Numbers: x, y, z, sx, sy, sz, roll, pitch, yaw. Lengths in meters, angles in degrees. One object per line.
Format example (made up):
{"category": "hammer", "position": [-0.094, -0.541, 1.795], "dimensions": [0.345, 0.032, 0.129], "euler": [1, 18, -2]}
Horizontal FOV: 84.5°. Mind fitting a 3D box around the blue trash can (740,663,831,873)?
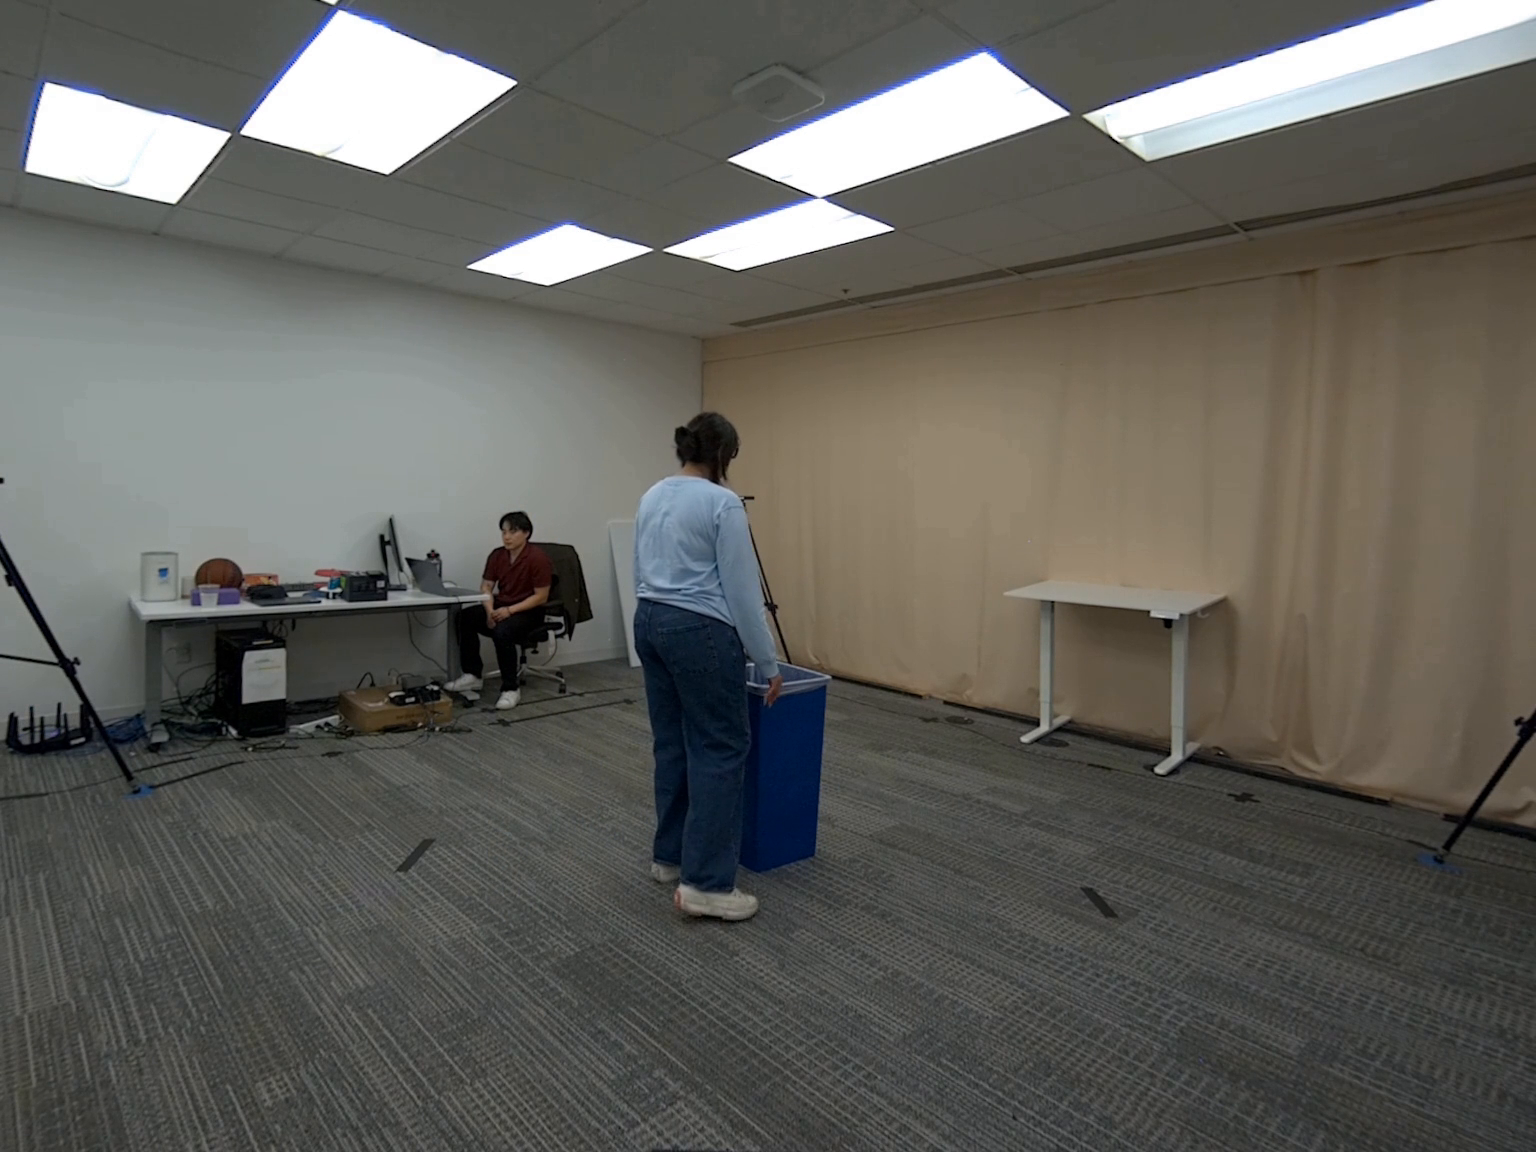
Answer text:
{"category": "blue trash can", "position": [-0.009, 0.732, 3.308], "dimensions": [0.369, 0.712, 0.383], "euler": [-2, 4, -39]}
